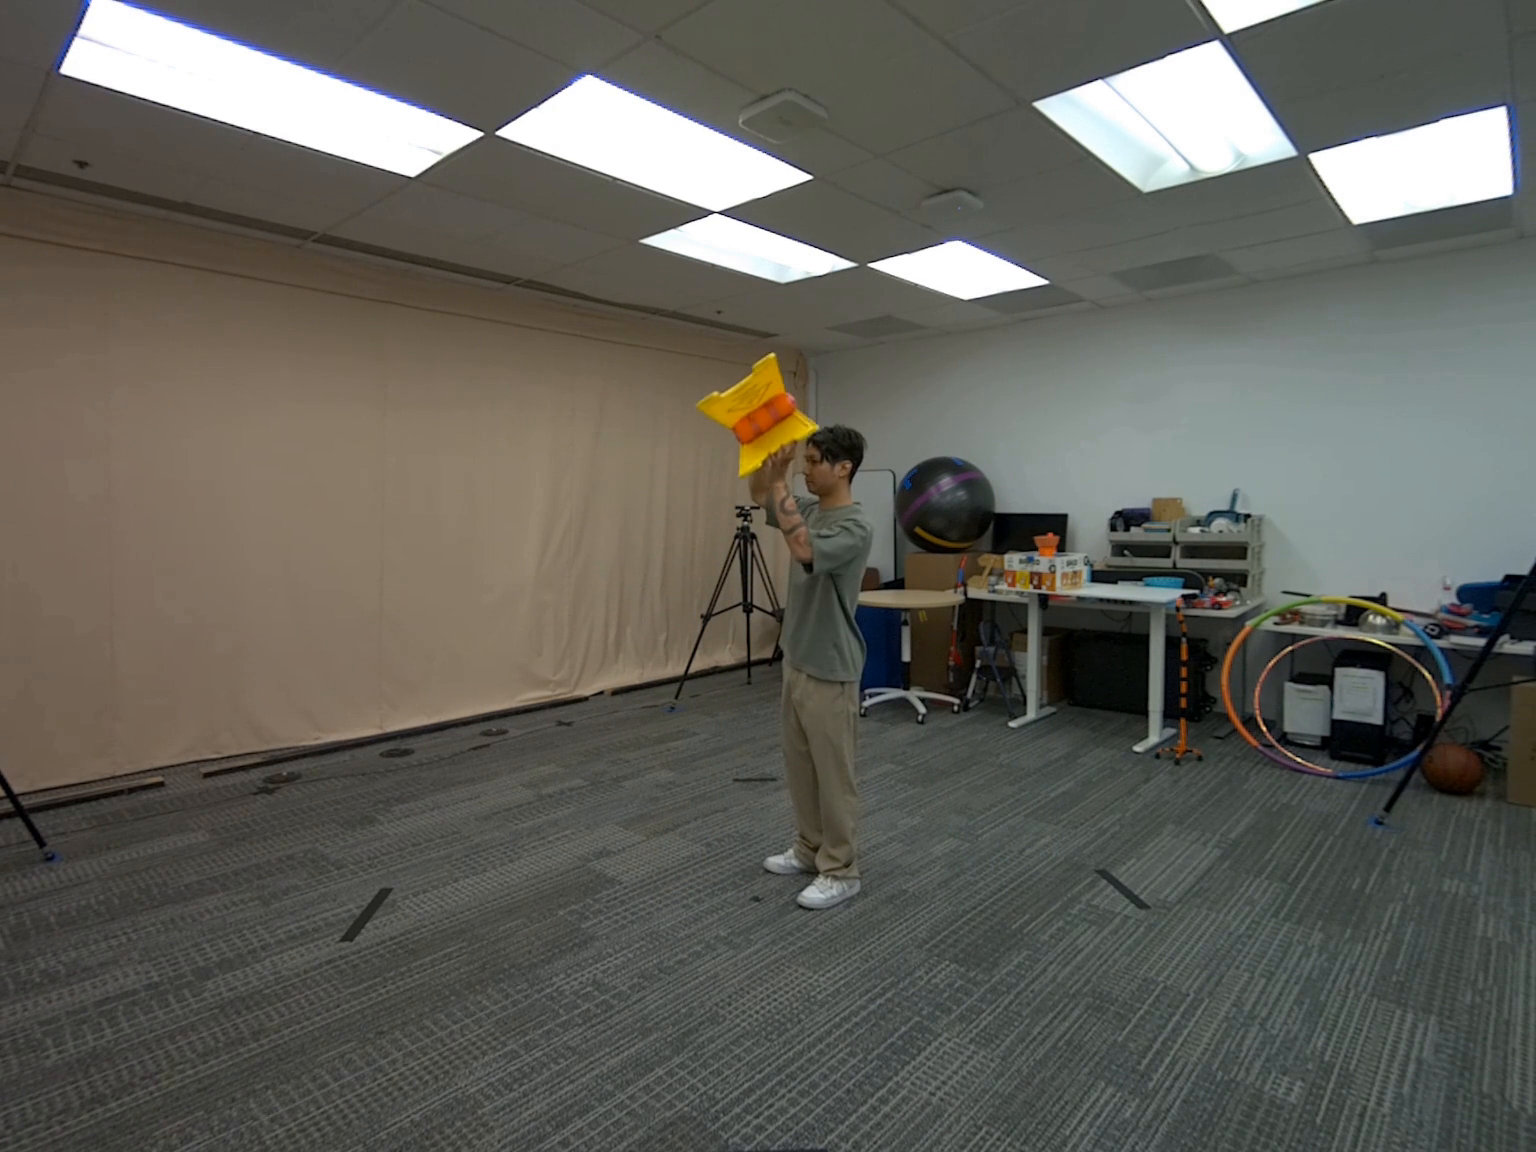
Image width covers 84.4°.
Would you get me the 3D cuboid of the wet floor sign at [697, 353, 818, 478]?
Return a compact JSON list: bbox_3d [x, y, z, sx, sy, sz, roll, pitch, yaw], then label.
[{"bbox_3d":[-0.018,-0.524,2.829,0.283,0.288,0.647,-32,7,7],"label":"wet floor sign"}]
